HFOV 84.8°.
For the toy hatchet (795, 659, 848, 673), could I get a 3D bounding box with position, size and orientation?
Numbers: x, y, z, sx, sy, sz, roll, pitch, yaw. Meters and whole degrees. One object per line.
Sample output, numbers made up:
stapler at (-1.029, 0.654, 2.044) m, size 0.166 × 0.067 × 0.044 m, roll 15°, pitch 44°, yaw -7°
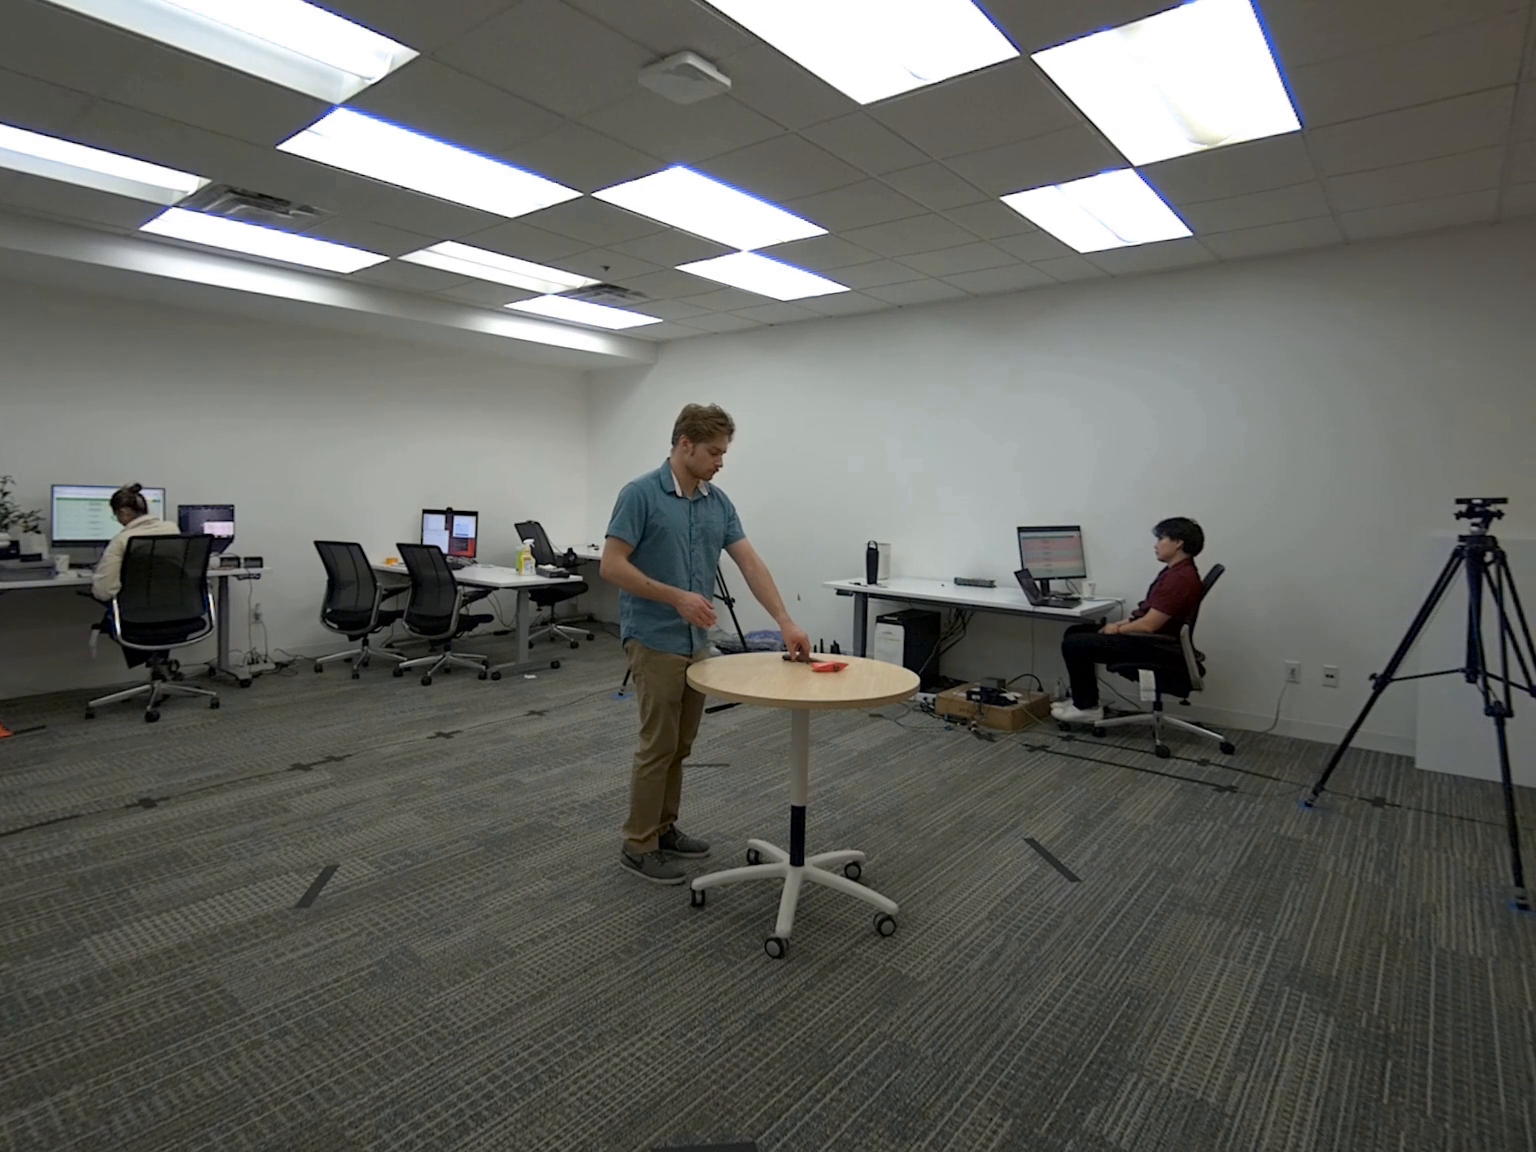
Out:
toy hatchet at (0.128, 0.300, 2.938) m, size 0.279 × 0.029 × 0.127 m, roll 2°, pitch 9°, yaw 41°
